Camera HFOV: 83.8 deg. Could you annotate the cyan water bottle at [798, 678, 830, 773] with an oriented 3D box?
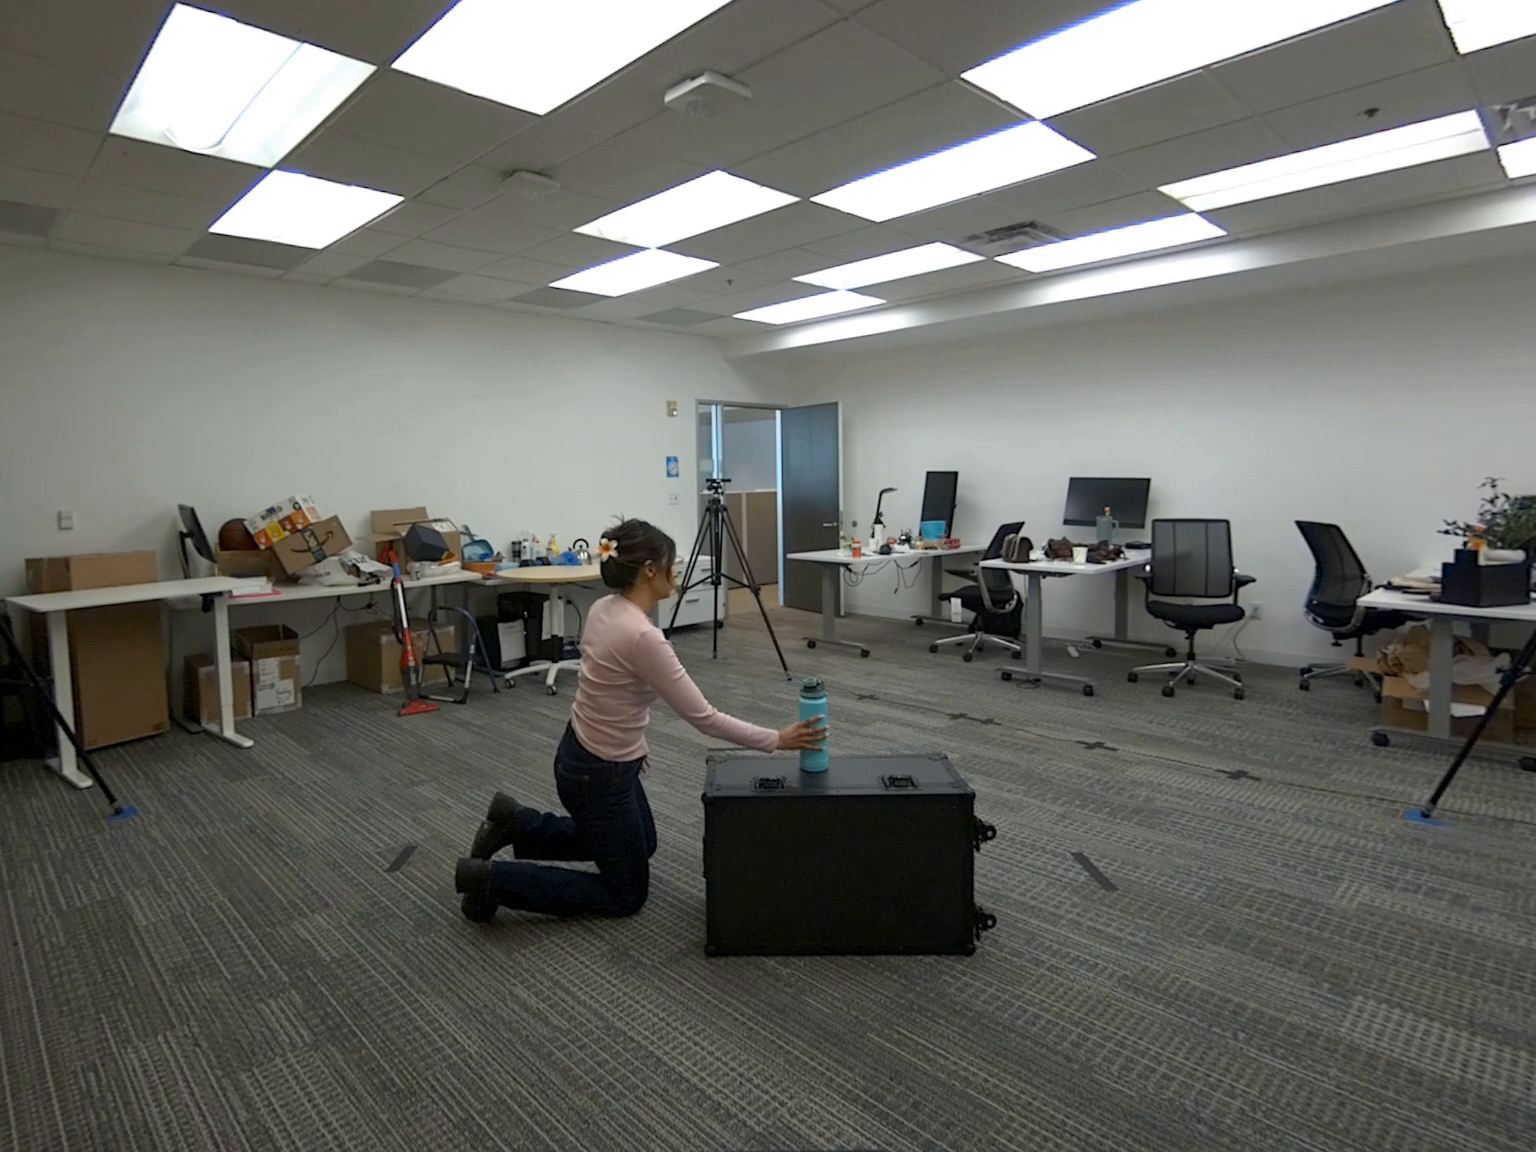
[{"bbox_3d":[0.144,0.463,2.690,0.092,0.282,0.093,0,5,-2],"label":"cyan water bottle"}]
